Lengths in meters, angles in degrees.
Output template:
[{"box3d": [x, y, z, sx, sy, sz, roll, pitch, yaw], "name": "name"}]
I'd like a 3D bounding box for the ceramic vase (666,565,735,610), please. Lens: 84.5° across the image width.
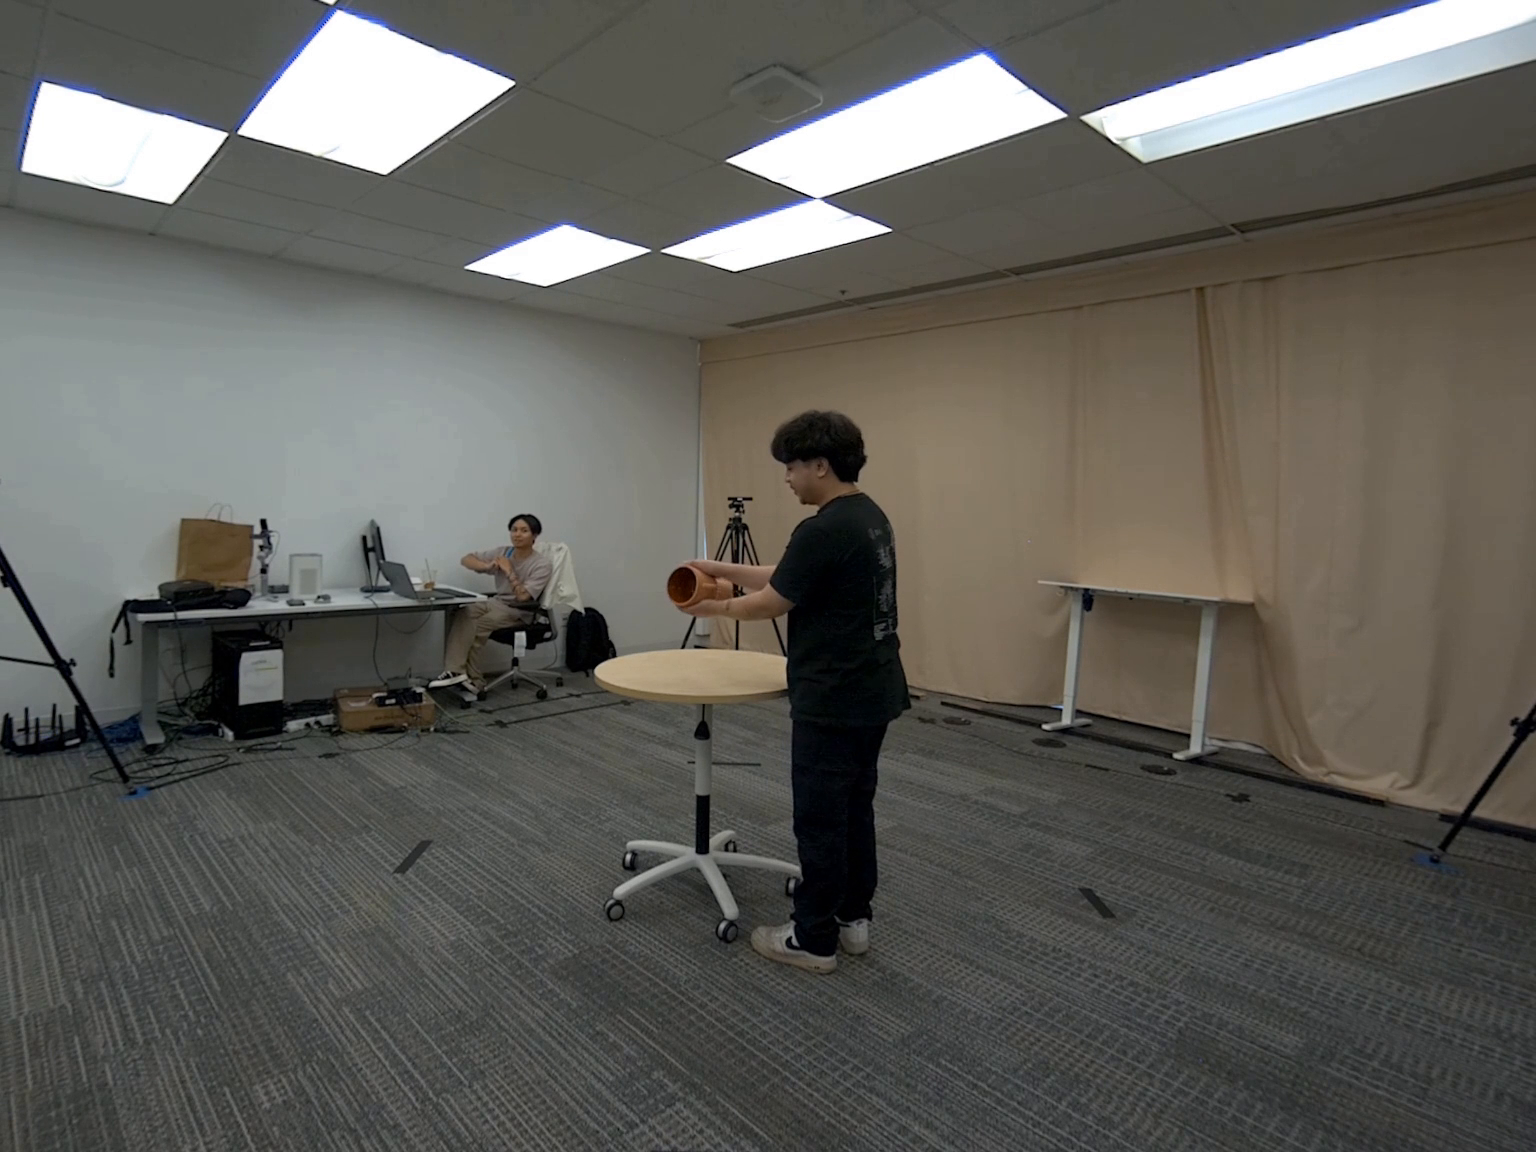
[{"box3d": [-0.222, 0.047, 2.782, 0.163, 0.134, 0.214, 48, 19, 31], "name": "ceramic vase"}]
